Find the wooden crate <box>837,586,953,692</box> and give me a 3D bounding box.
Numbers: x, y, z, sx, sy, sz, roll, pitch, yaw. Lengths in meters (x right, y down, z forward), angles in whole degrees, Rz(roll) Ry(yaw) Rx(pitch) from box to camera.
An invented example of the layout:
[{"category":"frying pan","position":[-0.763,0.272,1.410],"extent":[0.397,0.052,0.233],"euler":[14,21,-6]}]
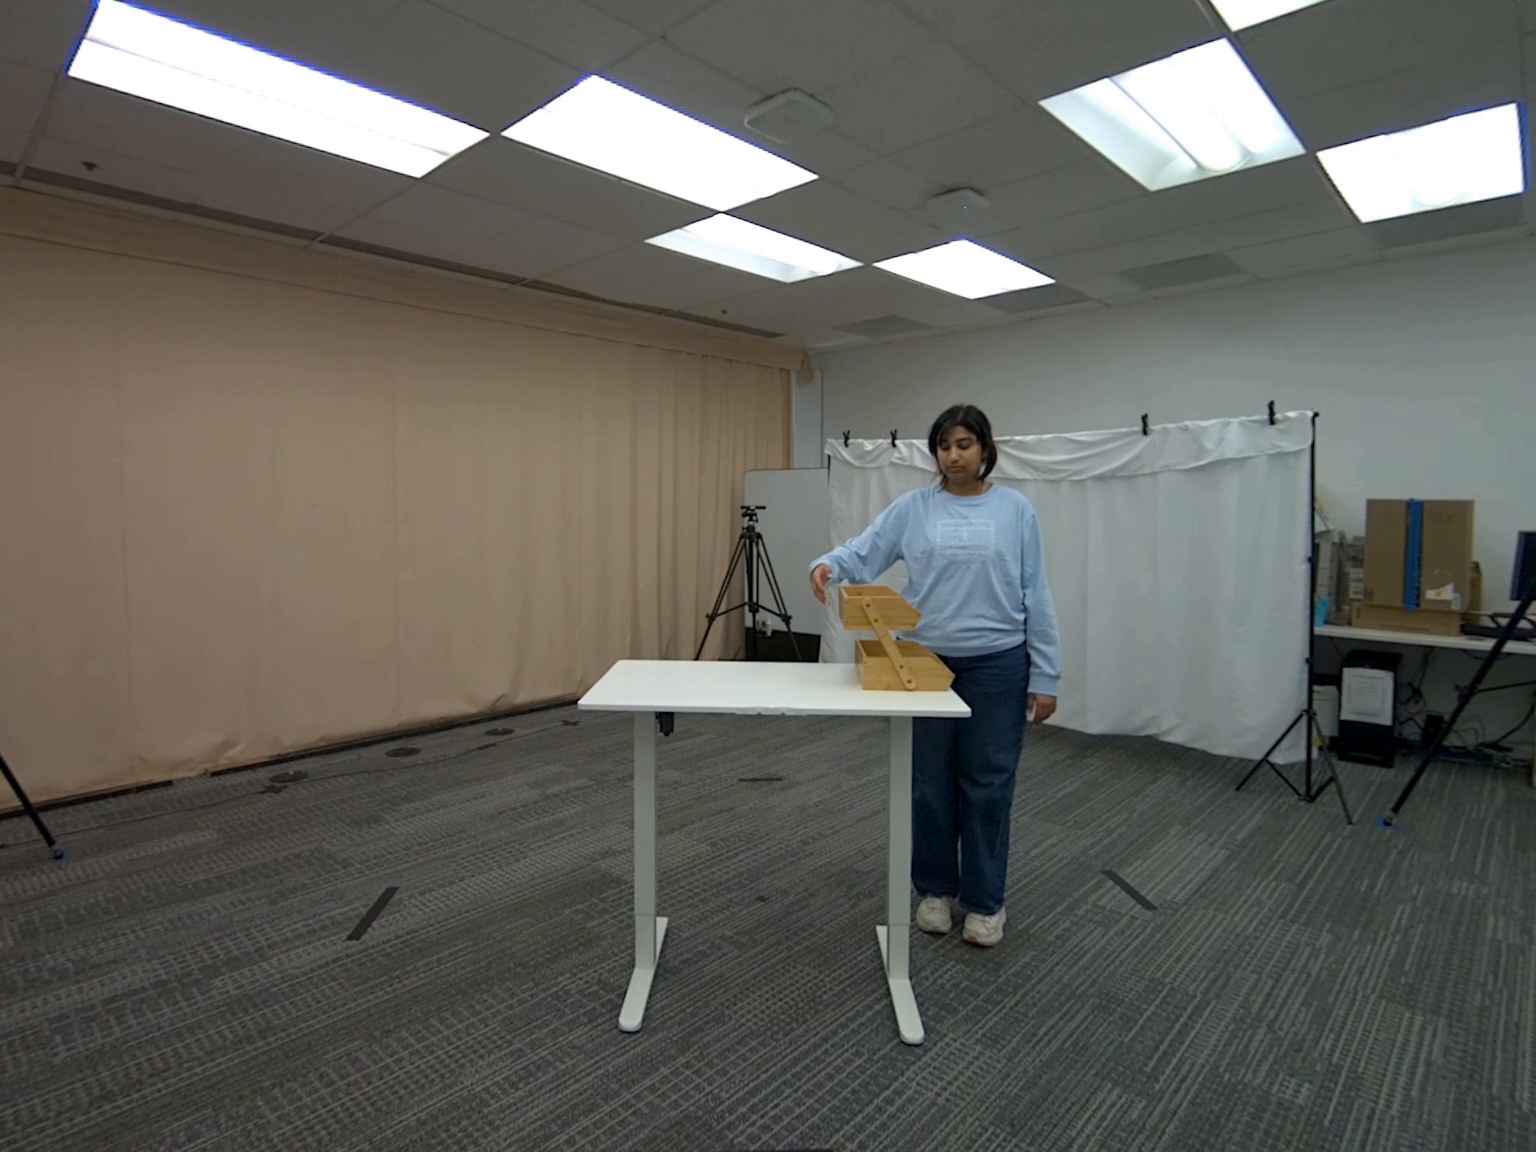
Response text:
[{"category":"wooden crate","position":[0.377,0.177,2.460],"extent":[0.303,0.272,0.324],"euler":[0,4,3]}]
